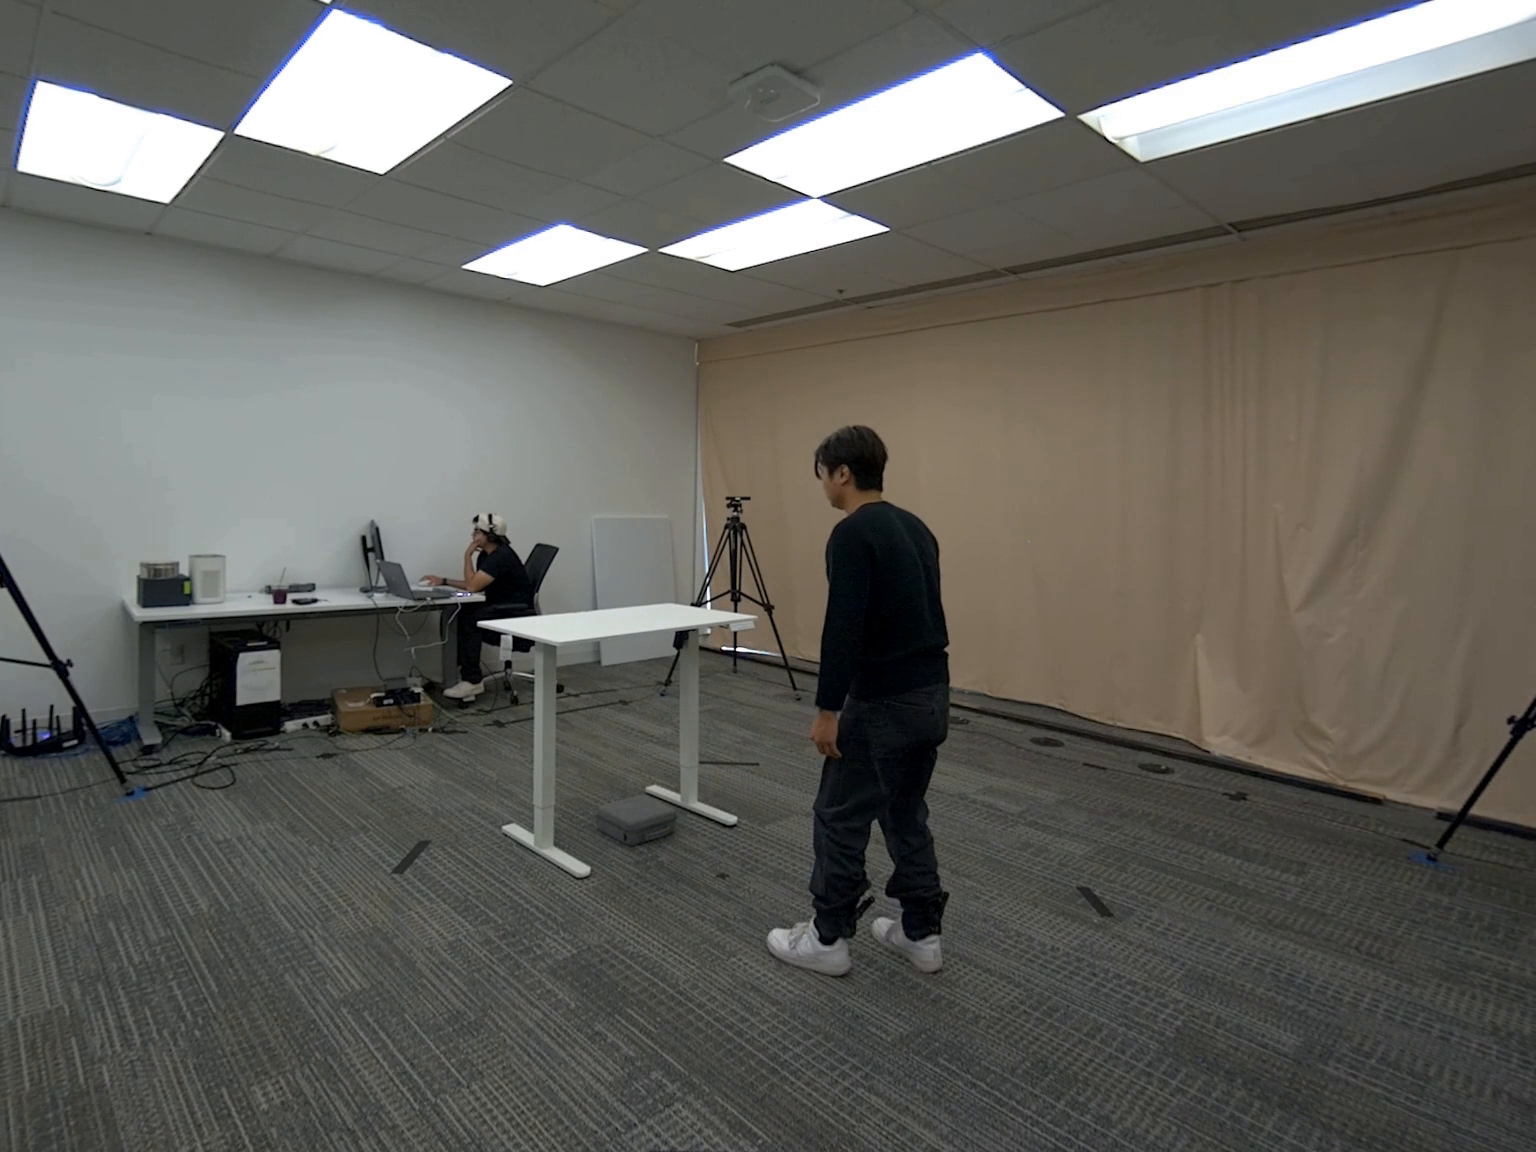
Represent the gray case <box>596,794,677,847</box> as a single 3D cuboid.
[{"bbox_3d":[-0.551,1.001,3.496,0.255,0.104,0.263,-3,7,-44],"label":"gray case"}]
